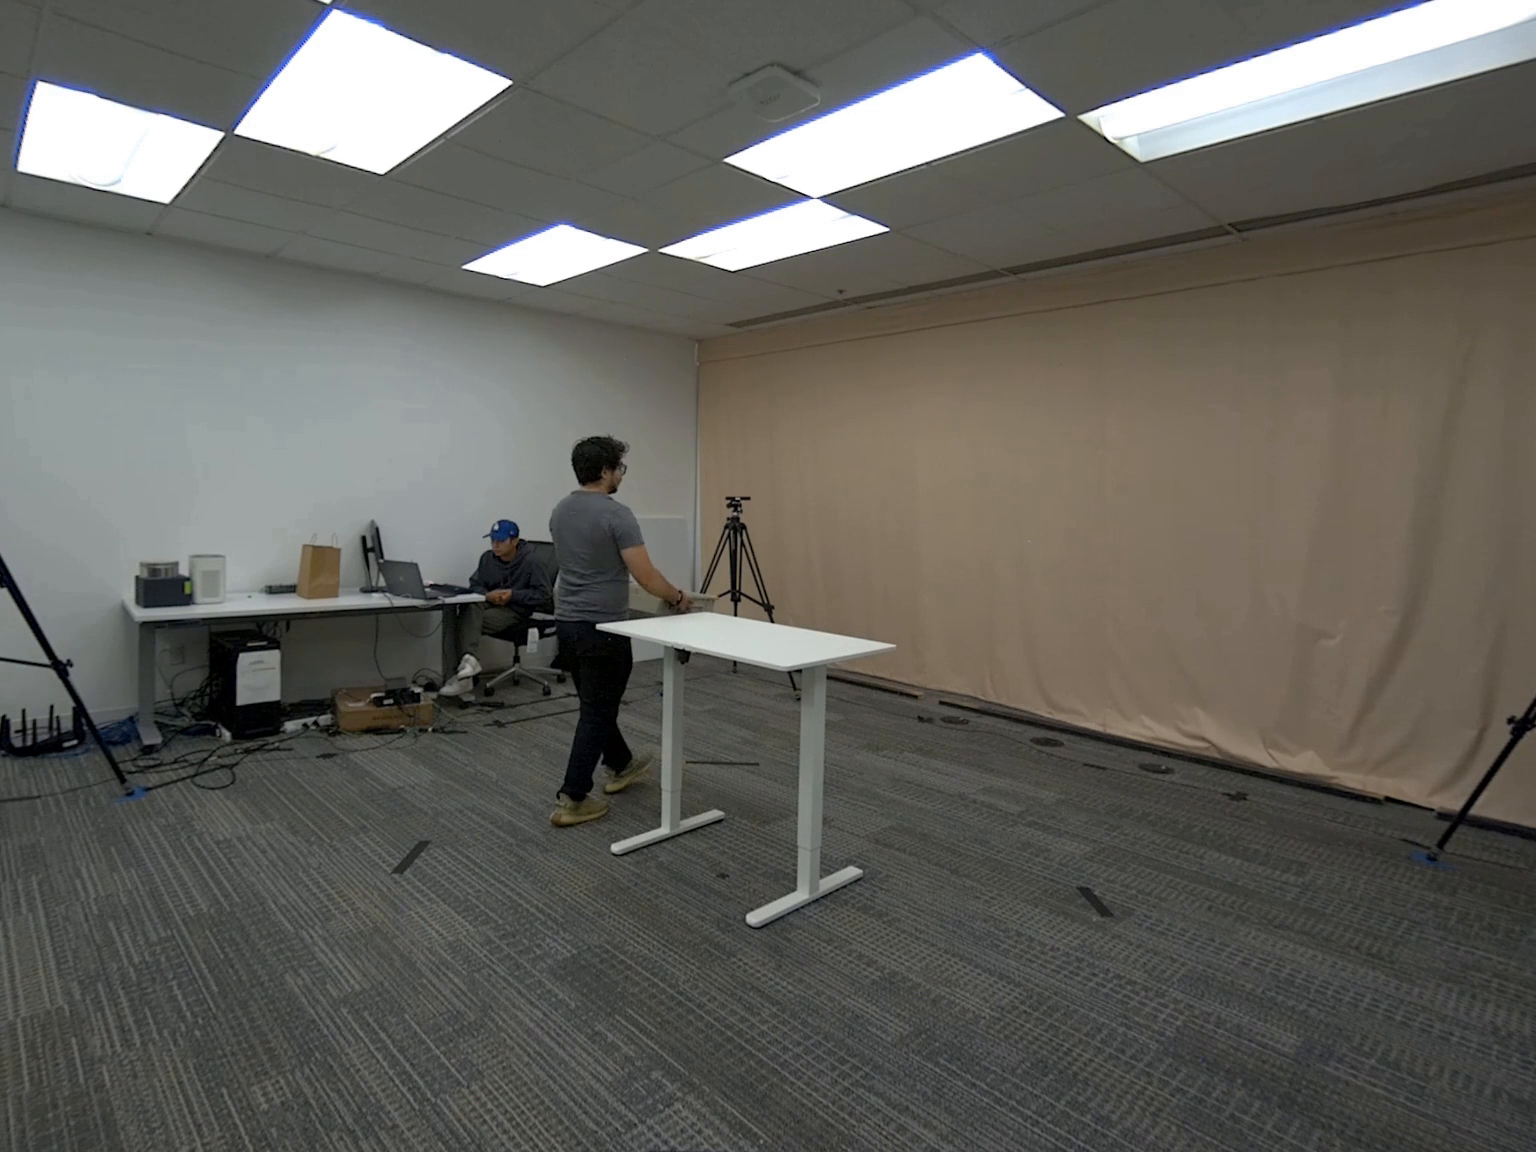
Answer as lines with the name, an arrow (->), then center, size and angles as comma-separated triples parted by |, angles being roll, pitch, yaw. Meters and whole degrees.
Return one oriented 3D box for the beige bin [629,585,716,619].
beige bin -> -0.513, 0.152, 3.978 | 0.433, 0.189, 0.367 | 7, -1, 42
